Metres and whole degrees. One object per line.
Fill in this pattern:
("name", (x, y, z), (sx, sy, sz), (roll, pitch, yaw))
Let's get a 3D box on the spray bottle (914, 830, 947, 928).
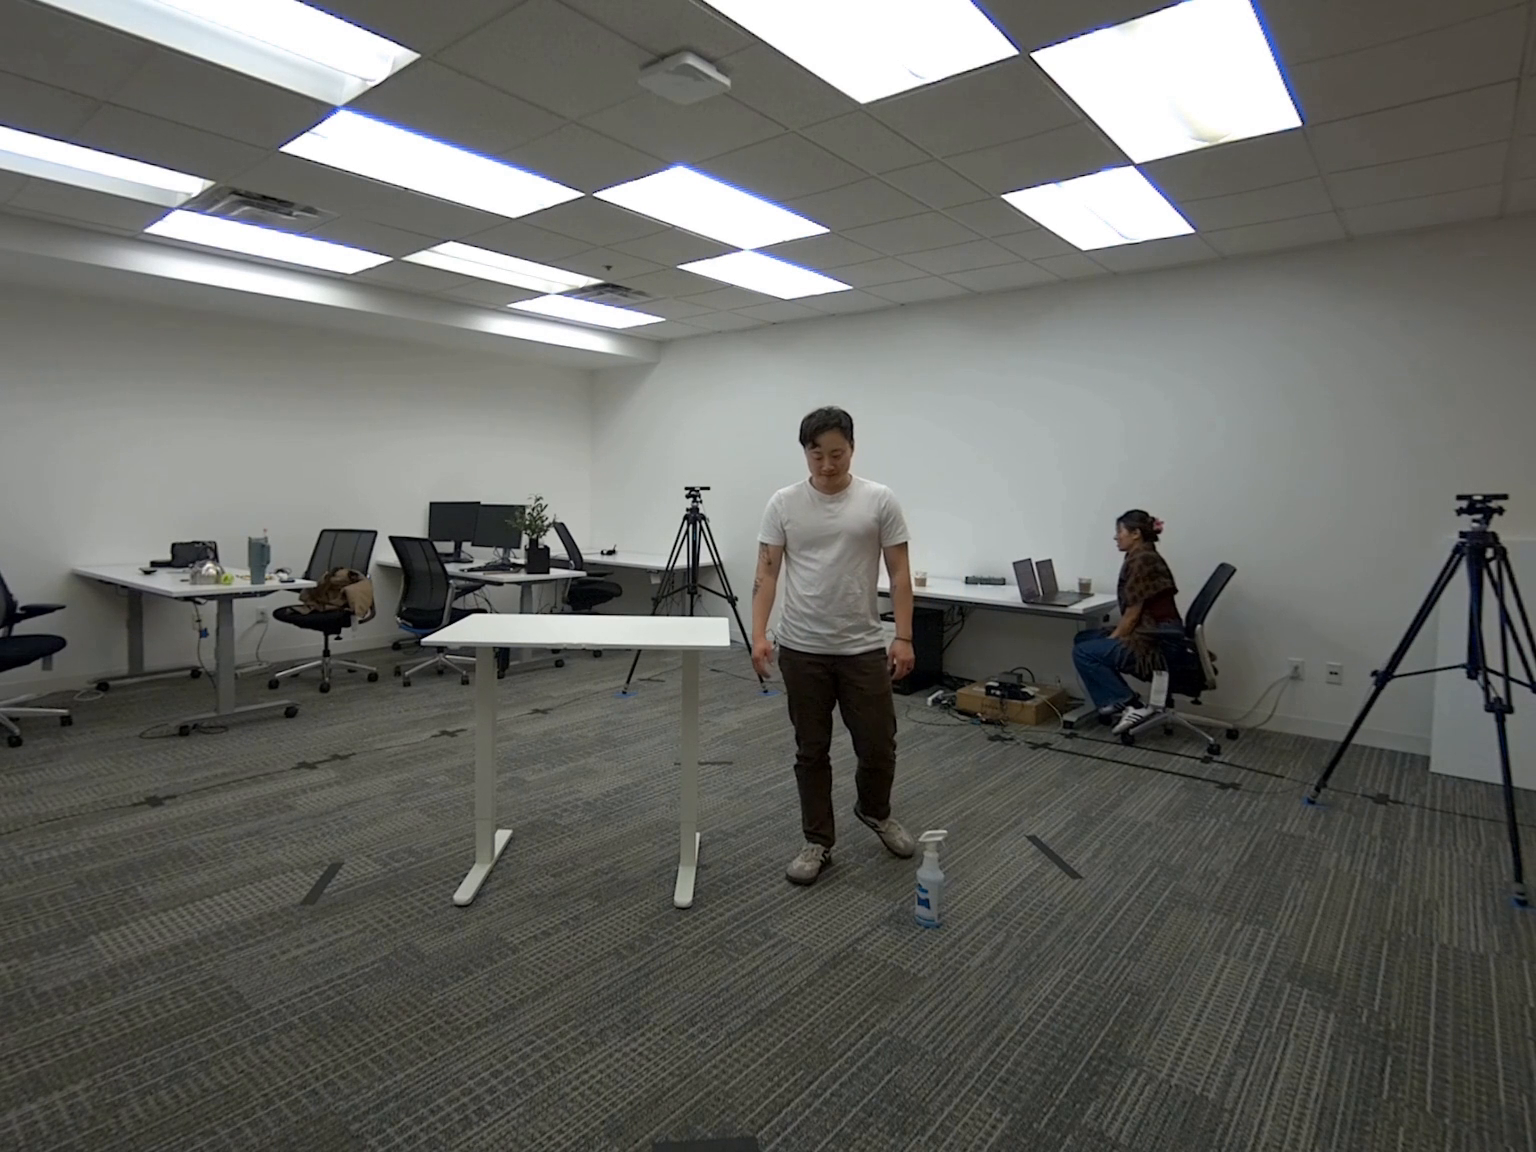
("spray bottle", (0.522, 0.976, 2.749), (0.092, 0.296, 0.085), (3, 3, 17))
